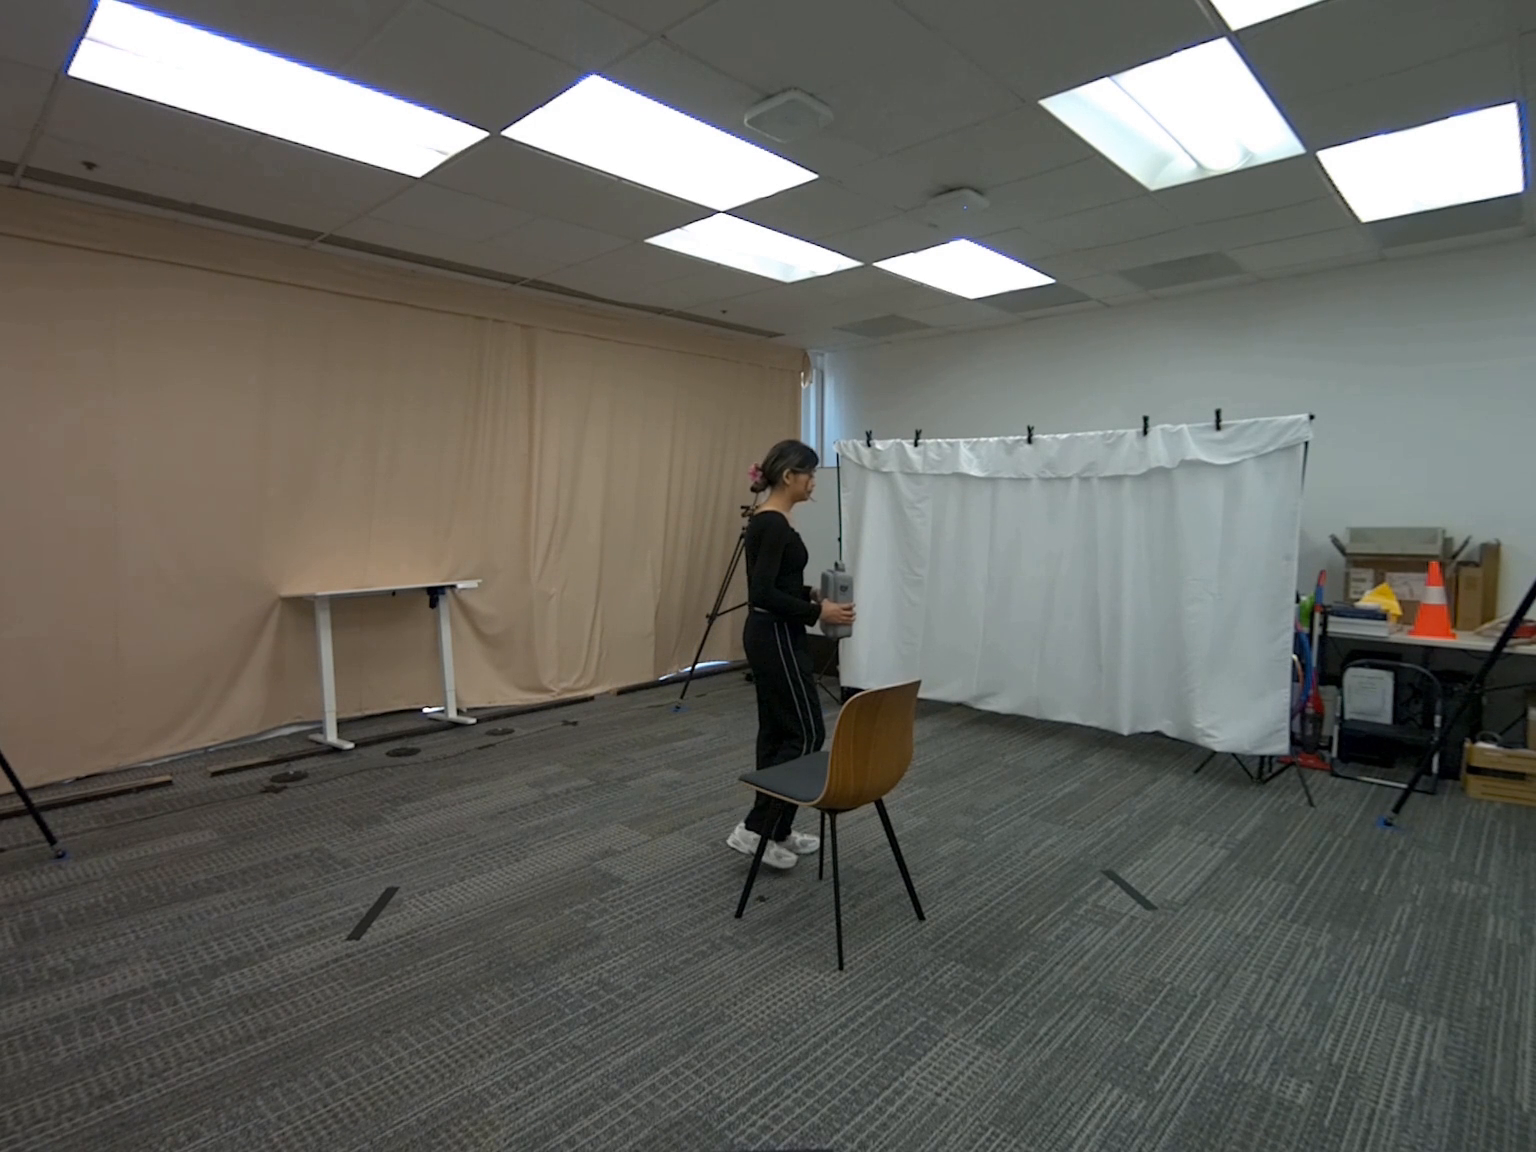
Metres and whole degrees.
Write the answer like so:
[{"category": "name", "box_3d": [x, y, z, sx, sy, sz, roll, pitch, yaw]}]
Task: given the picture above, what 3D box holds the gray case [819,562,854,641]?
[{"category": "gray case", "box_3d": [0.272, 0.102, 3.301, 0.104, 0.260, 0.257, 2, 2, -1]}]
